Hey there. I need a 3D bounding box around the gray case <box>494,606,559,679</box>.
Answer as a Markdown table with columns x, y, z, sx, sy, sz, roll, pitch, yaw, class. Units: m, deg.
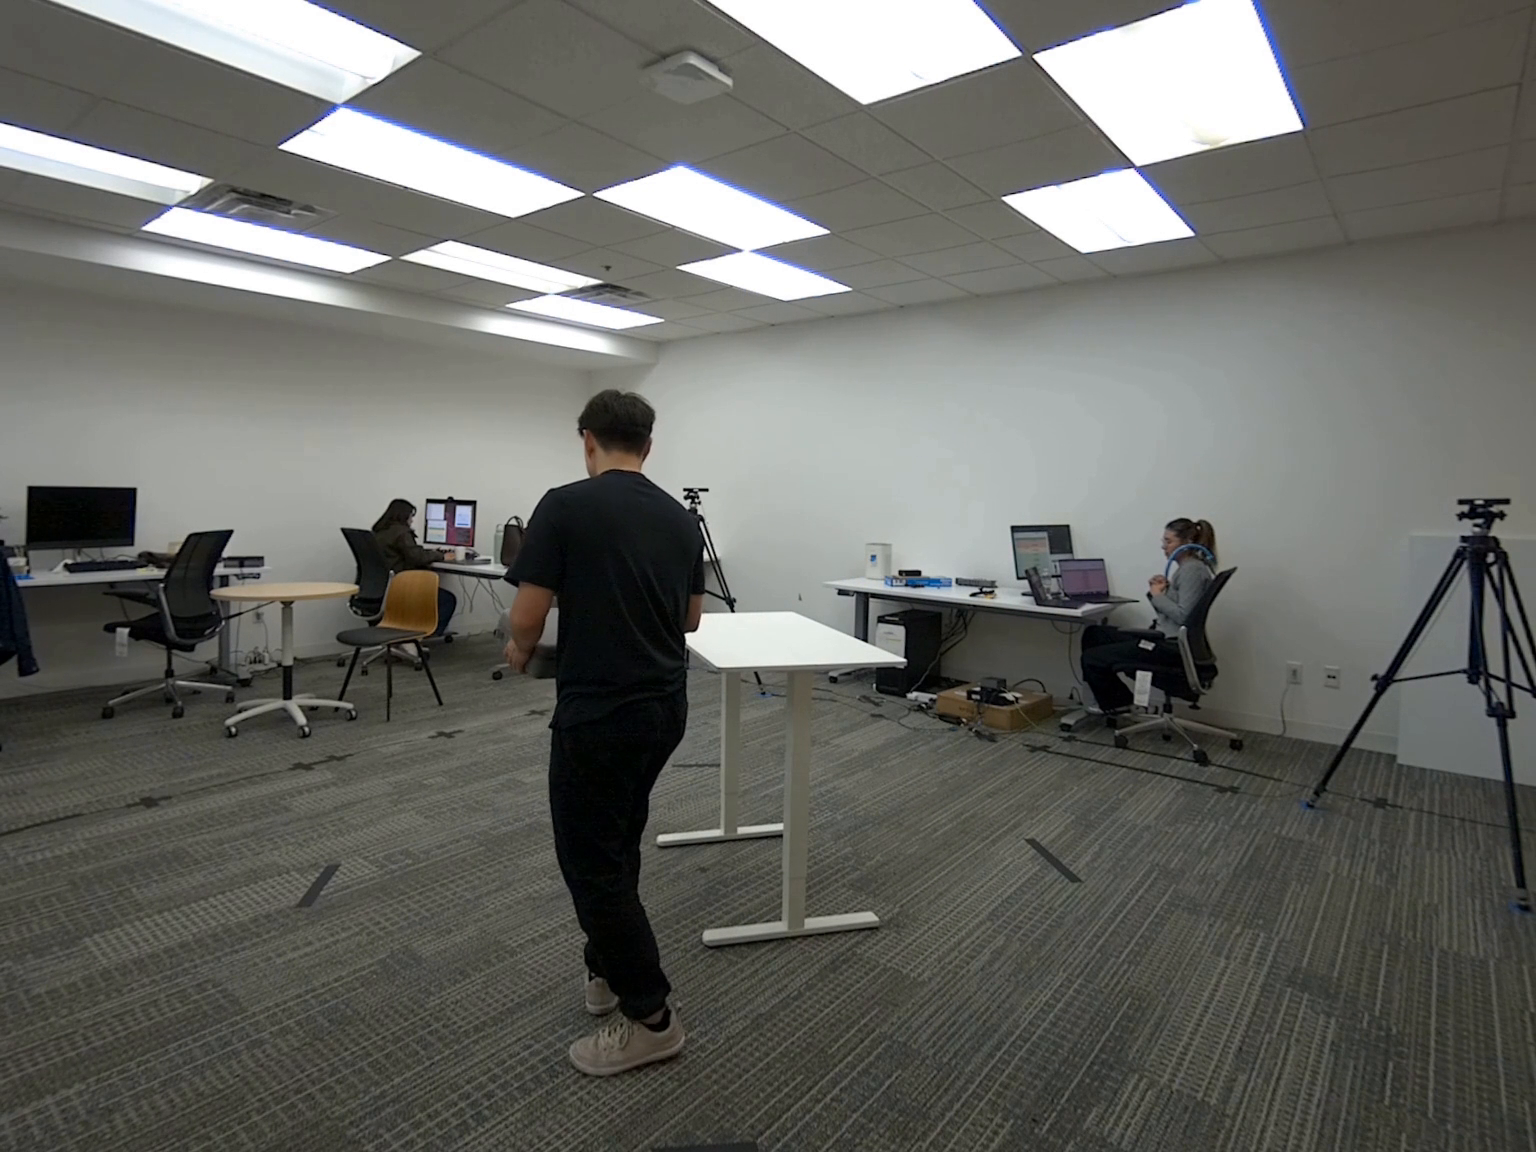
| x | y | z | sx | sy | sz | roll | pitch | yaw | class |
| --- | --- | --- | --- | --- | --- | --- | --- | --- | --- |
| -0.606 | 0.176 | 2.375 | 0.248 | 0.103 | 0.271 | 3 | 16 | -41 | gray case |
